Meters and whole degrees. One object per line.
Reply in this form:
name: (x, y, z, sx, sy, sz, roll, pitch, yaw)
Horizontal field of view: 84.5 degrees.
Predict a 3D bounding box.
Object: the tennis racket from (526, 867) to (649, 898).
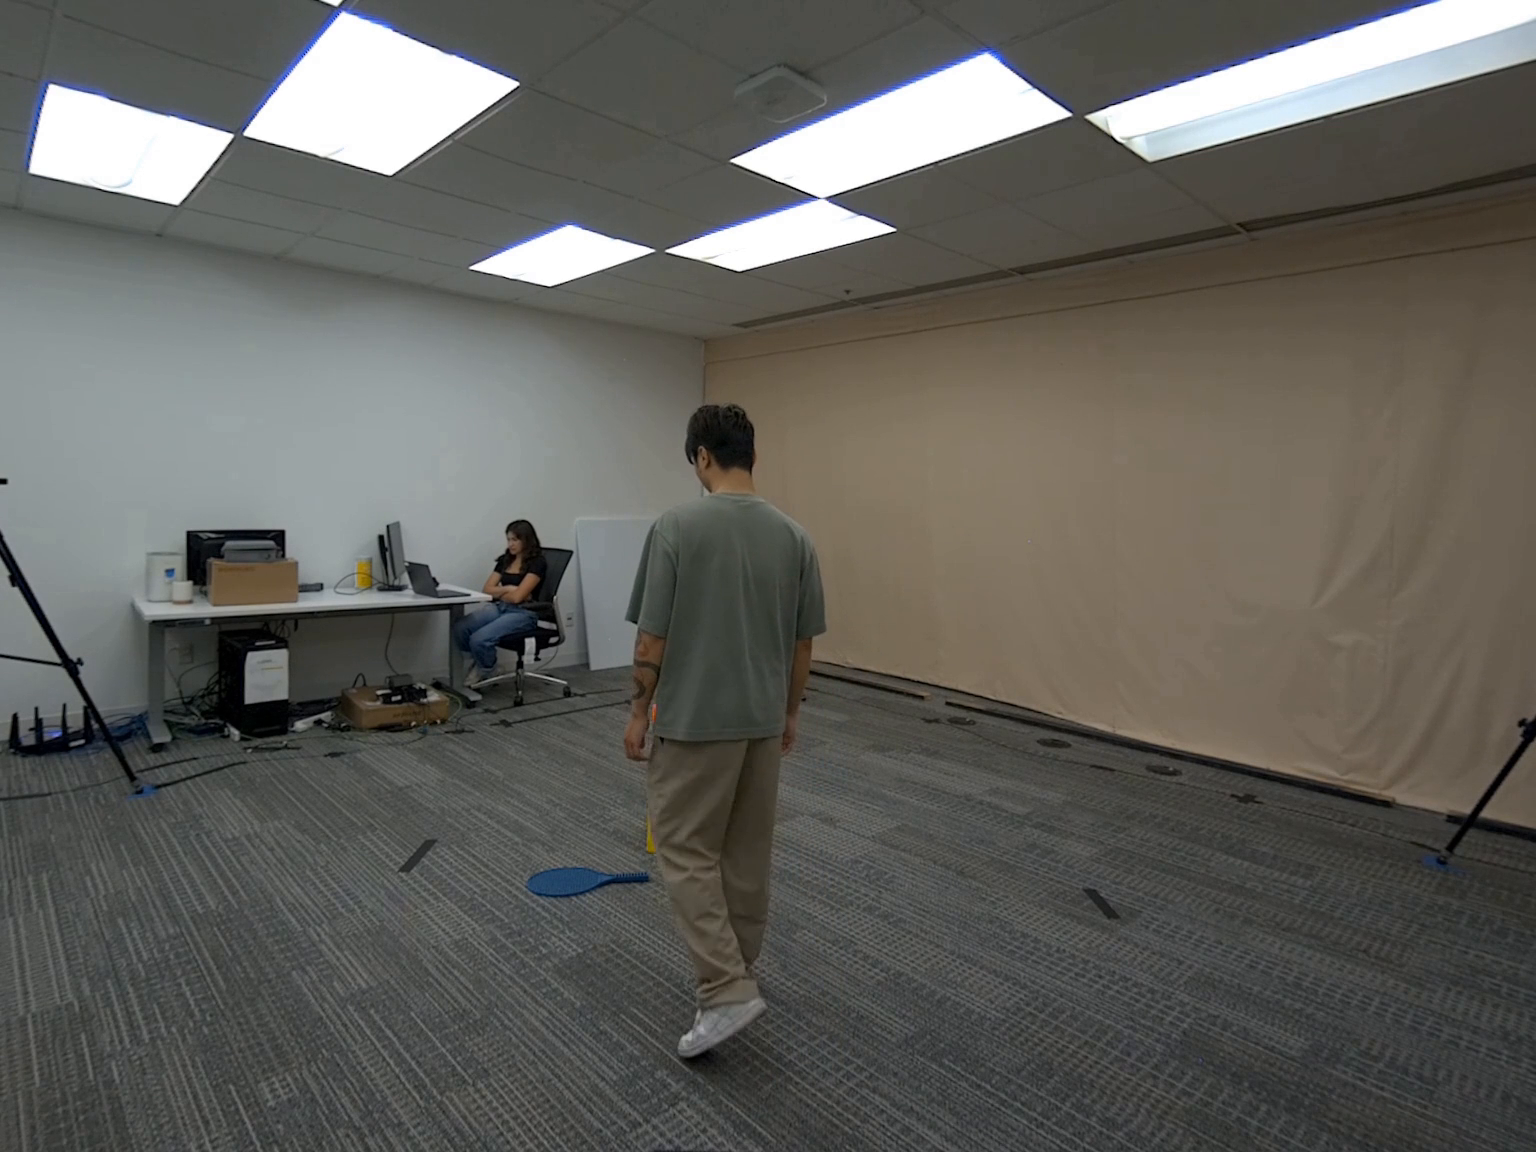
tennis racket: (-0.647, 1.088, 3.021, 0.430, 0.031, 0.215, -1, 6, -7)
